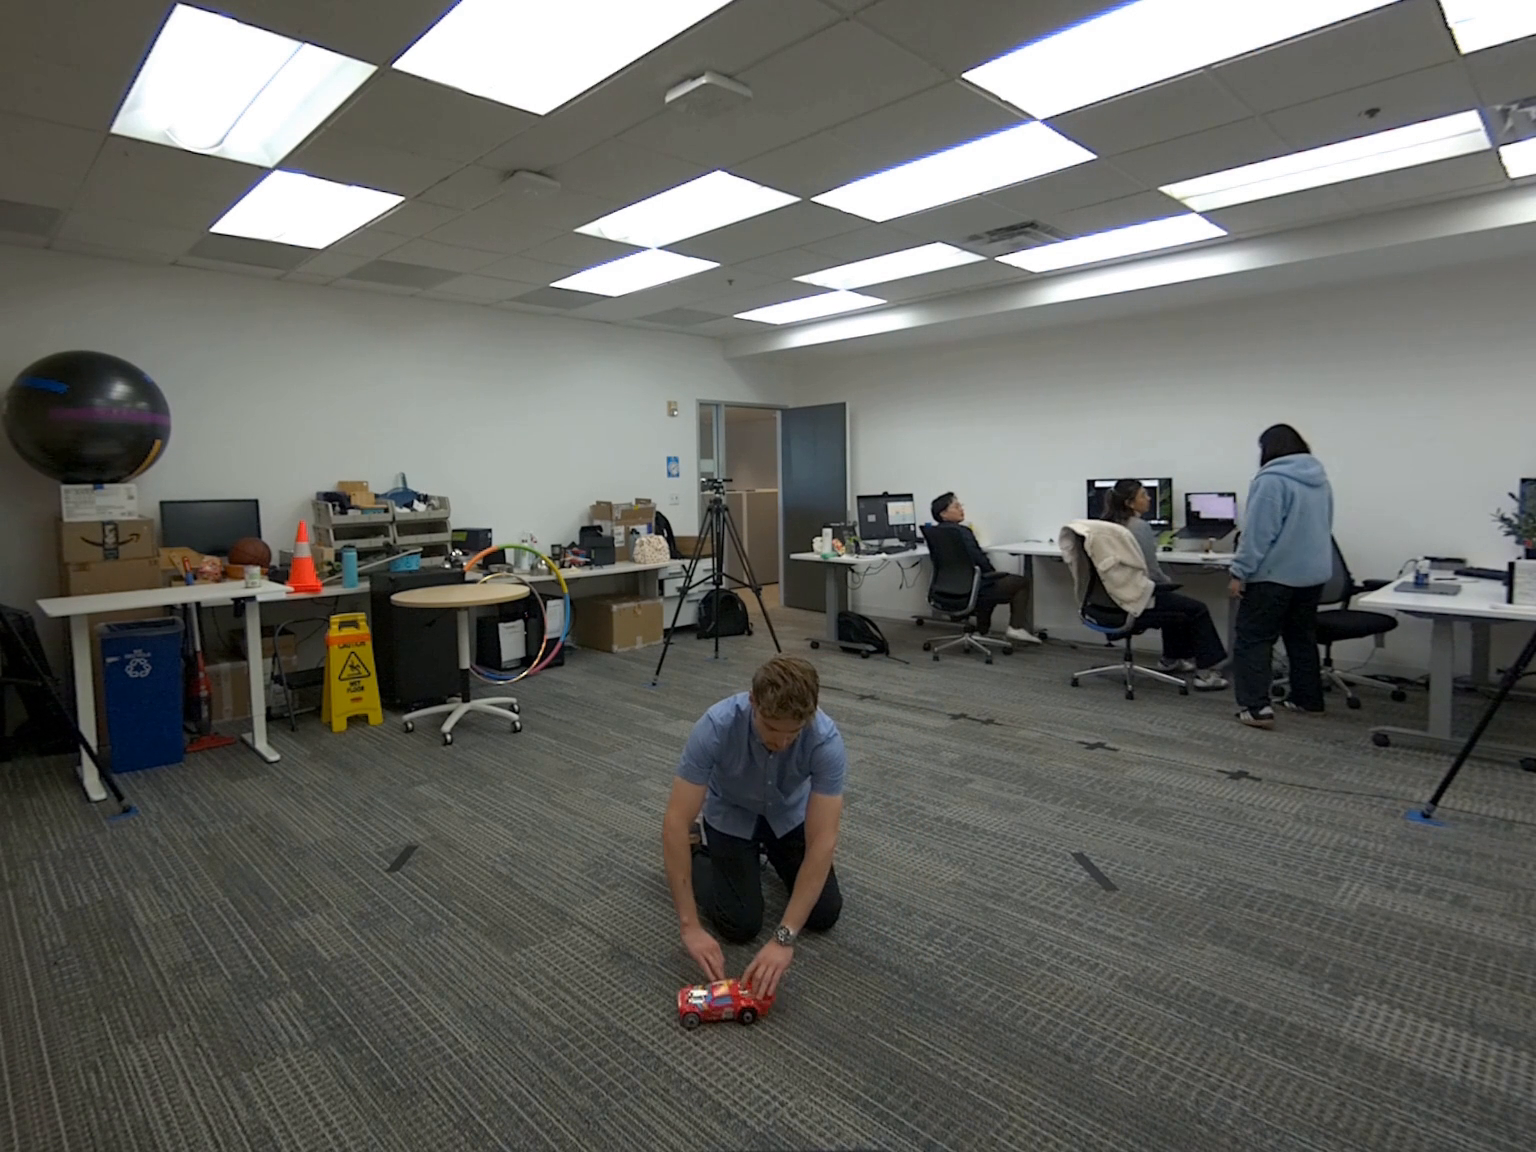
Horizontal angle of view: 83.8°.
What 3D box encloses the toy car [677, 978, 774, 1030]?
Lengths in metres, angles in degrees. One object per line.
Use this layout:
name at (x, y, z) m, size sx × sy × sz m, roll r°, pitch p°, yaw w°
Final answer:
toy car at (-0.092, 1.121, 2.240) m, size 0.254 × 0.083 × 0.131 m, roll -11°, pitch 7°, yaw -4°
